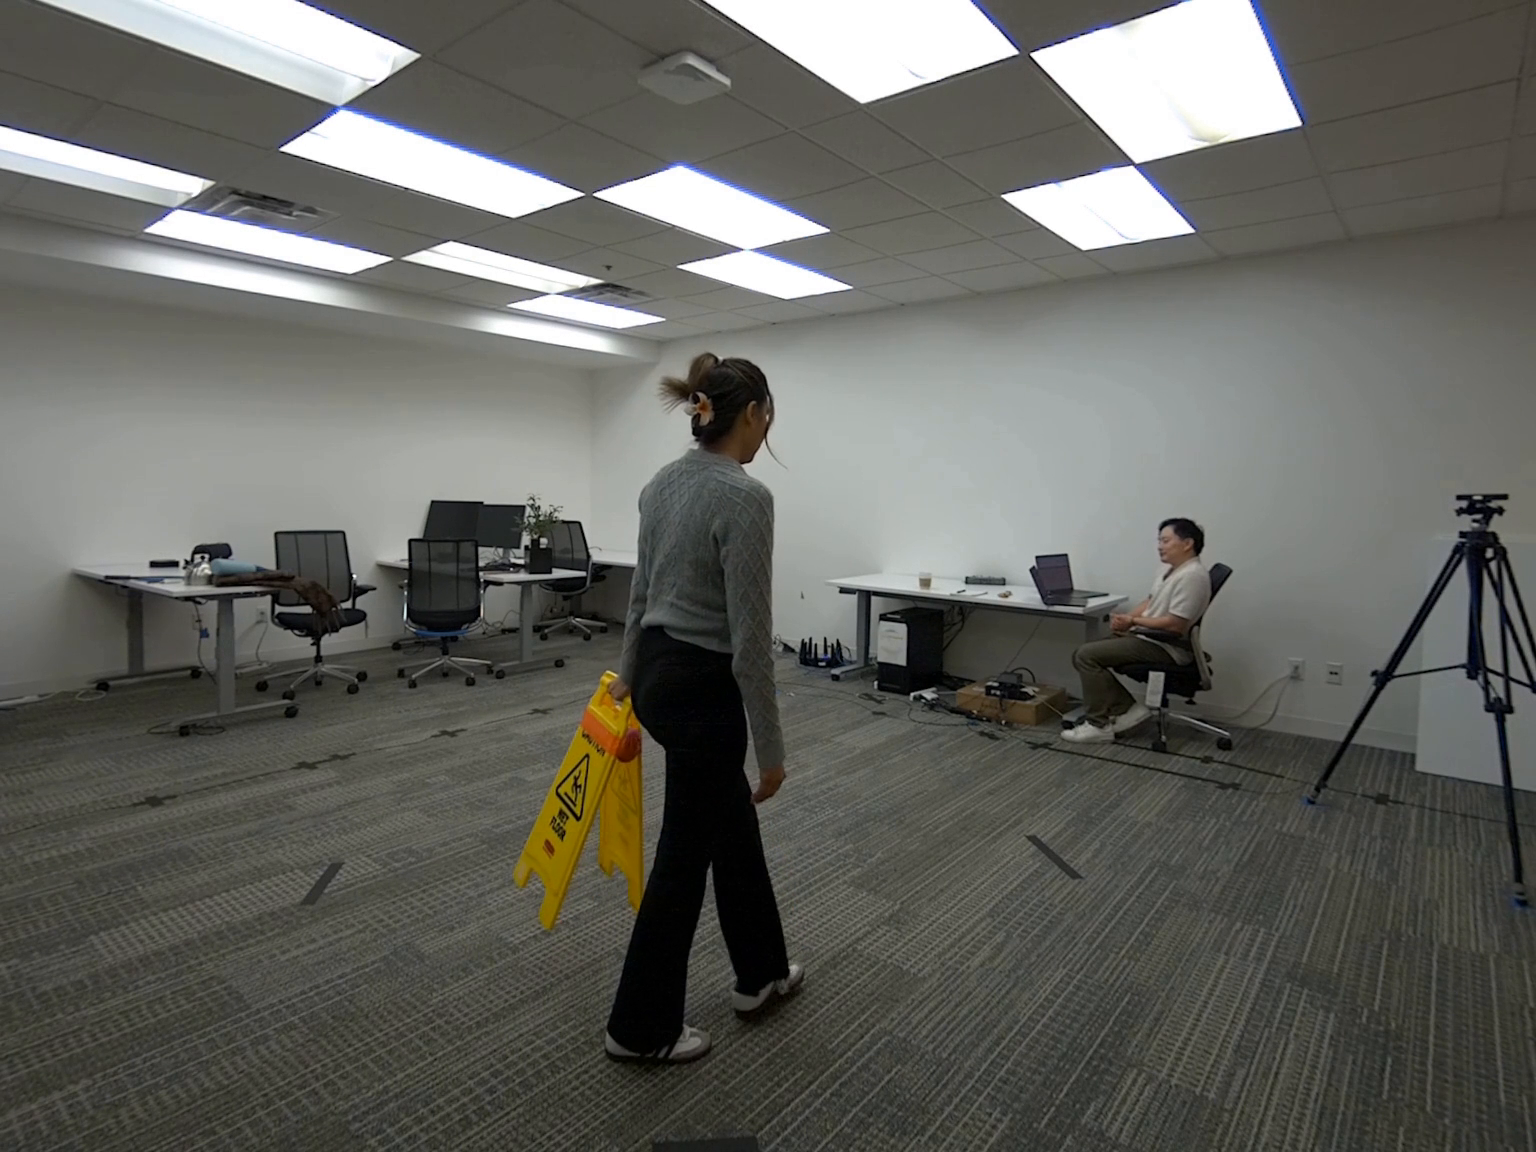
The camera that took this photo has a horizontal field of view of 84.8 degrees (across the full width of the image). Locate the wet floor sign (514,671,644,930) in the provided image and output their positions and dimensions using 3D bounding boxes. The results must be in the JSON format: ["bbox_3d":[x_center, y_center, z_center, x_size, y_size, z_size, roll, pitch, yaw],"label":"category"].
[{"bbox_3d":[-0.478,0.605,2.410,0.280,0.643,0.293,9,8,-38],"label":"wet floor sign"}]
